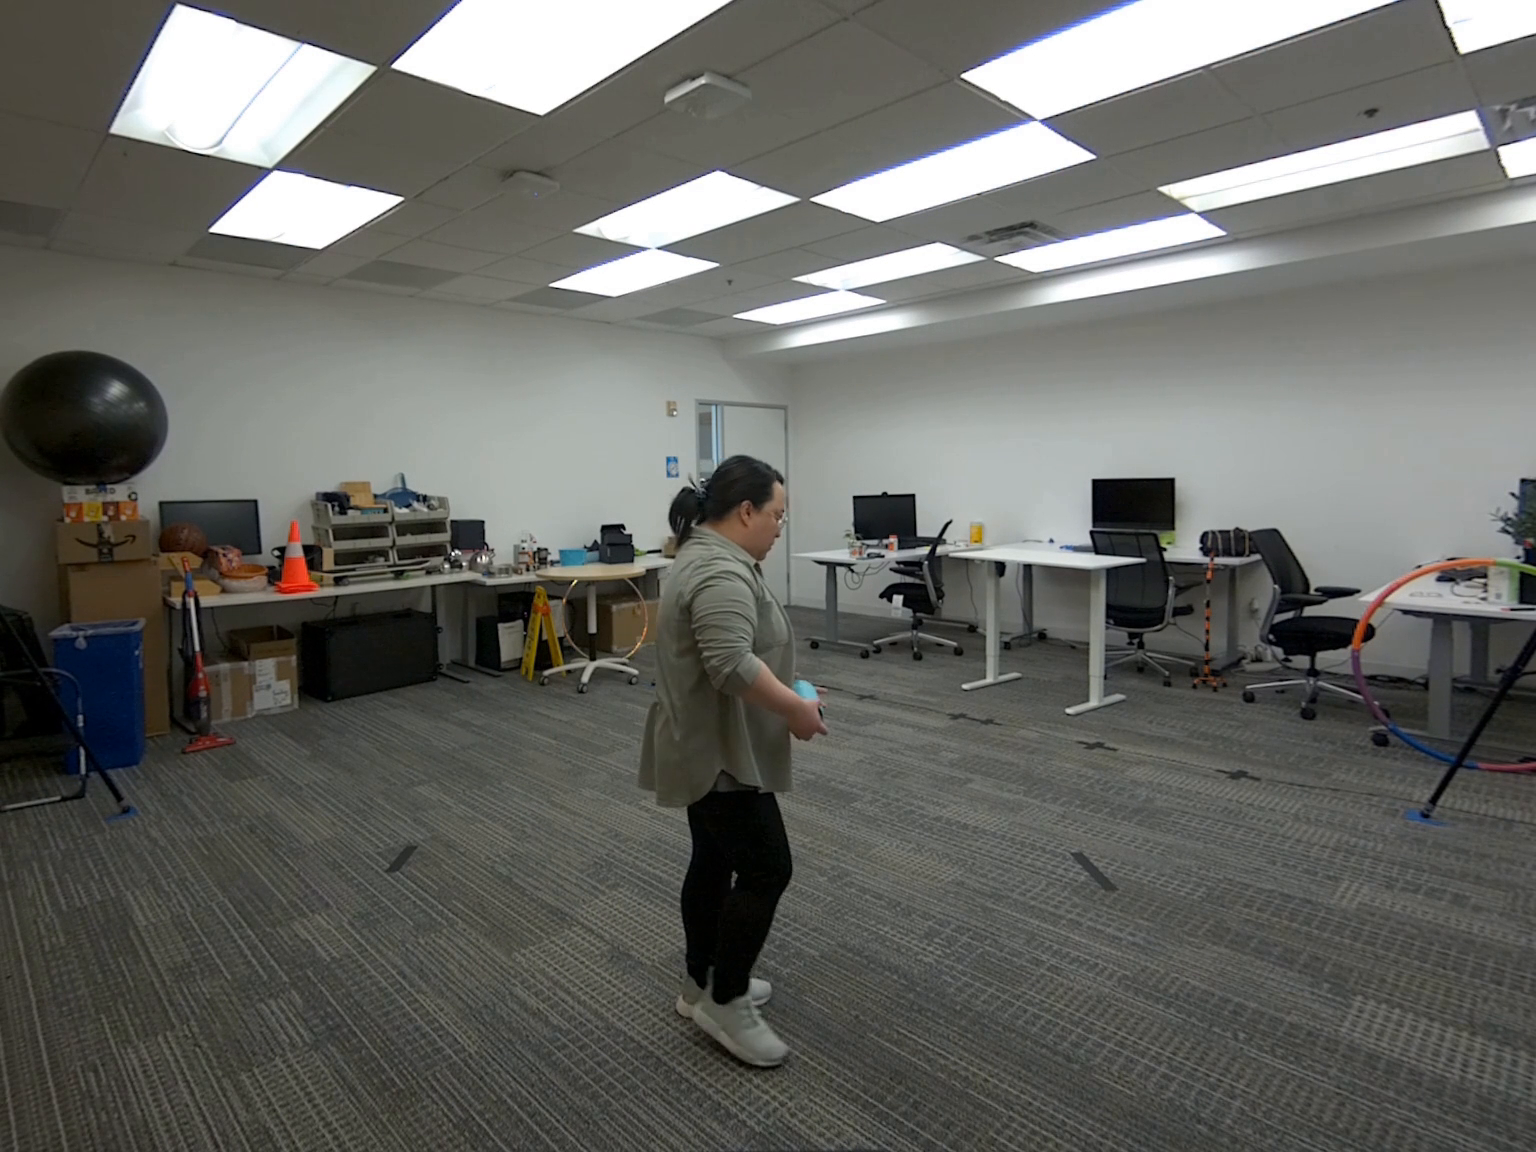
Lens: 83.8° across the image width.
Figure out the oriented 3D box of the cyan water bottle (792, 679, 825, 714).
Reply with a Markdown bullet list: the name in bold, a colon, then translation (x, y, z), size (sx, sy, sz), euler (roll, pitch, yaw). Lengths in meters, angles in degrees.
- **cyan water bottle**: translation (0.103, 0.341, 2.177), size (0.092, 0.092, 0.283), euler (-1, 3, 1)
